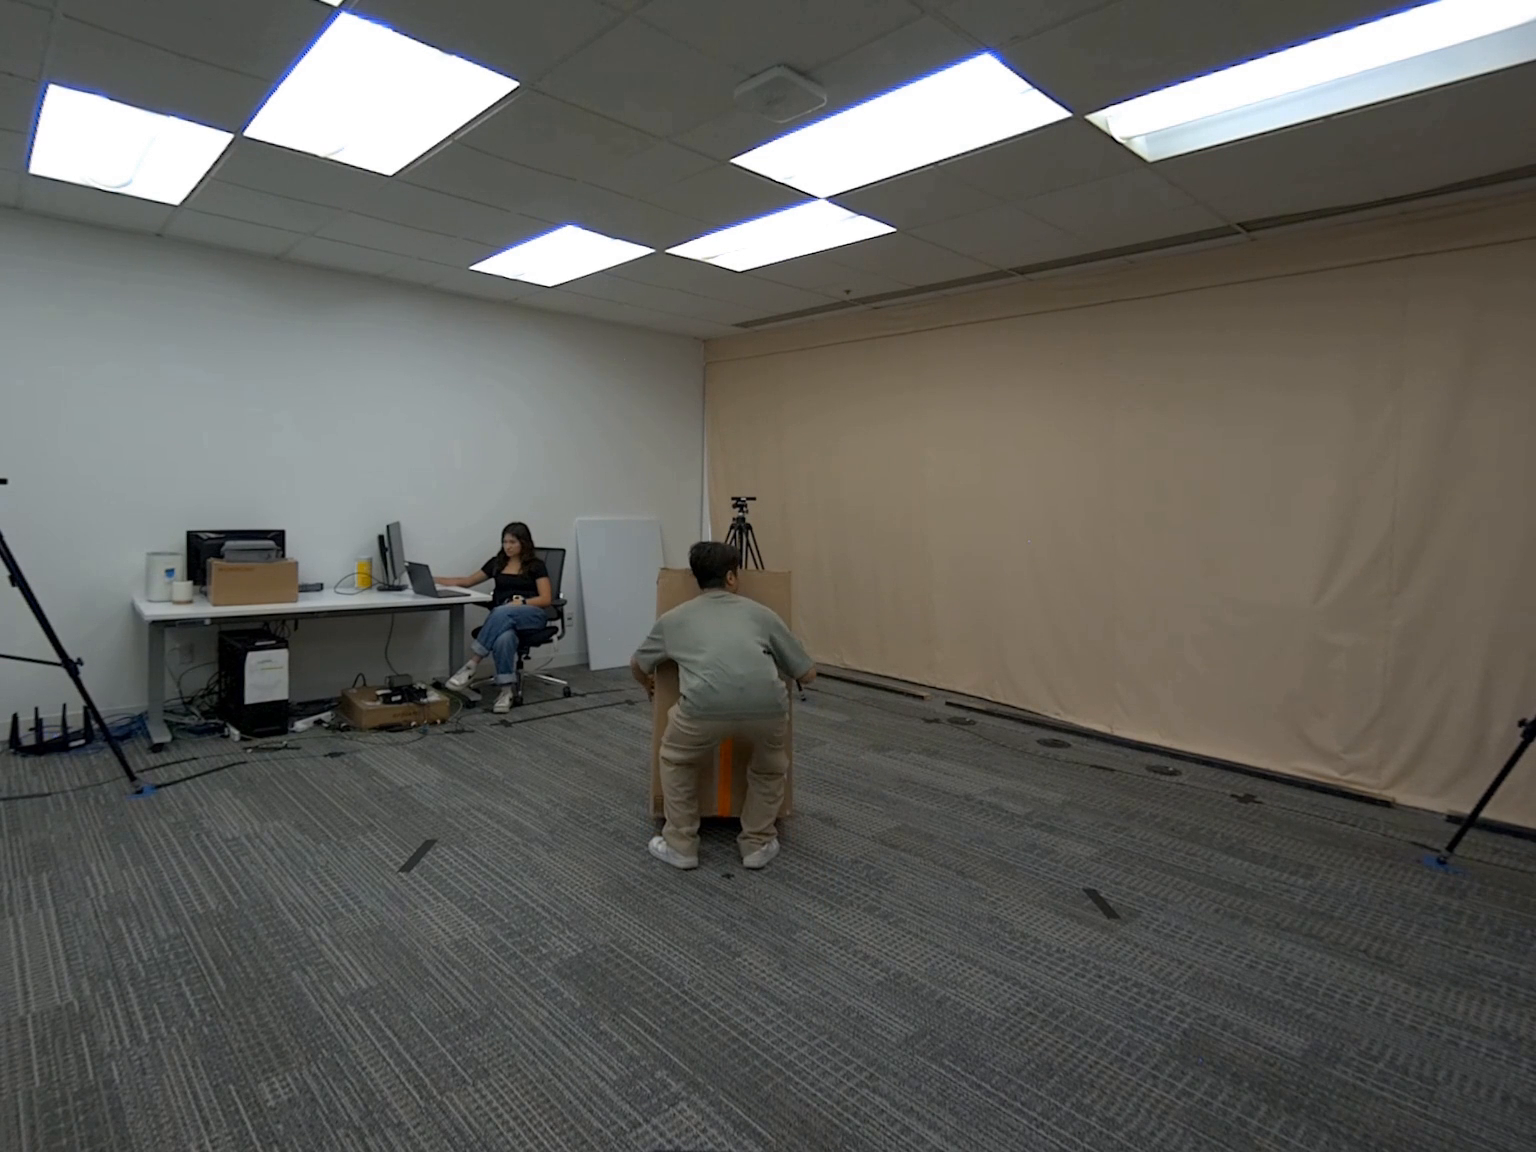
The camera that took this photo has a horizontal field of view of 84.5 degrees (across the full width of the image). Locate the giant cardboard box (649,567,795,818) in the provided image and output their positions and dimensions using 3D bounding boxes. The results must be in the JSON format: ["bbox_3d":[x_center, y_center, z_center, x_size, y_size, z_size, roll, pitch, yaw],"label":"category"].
[{"bbox_3d":[-0.215,0.507,3.722,0.575,1.034,0.425,1,-10,-6],"label":"giant cardboard box"}]
